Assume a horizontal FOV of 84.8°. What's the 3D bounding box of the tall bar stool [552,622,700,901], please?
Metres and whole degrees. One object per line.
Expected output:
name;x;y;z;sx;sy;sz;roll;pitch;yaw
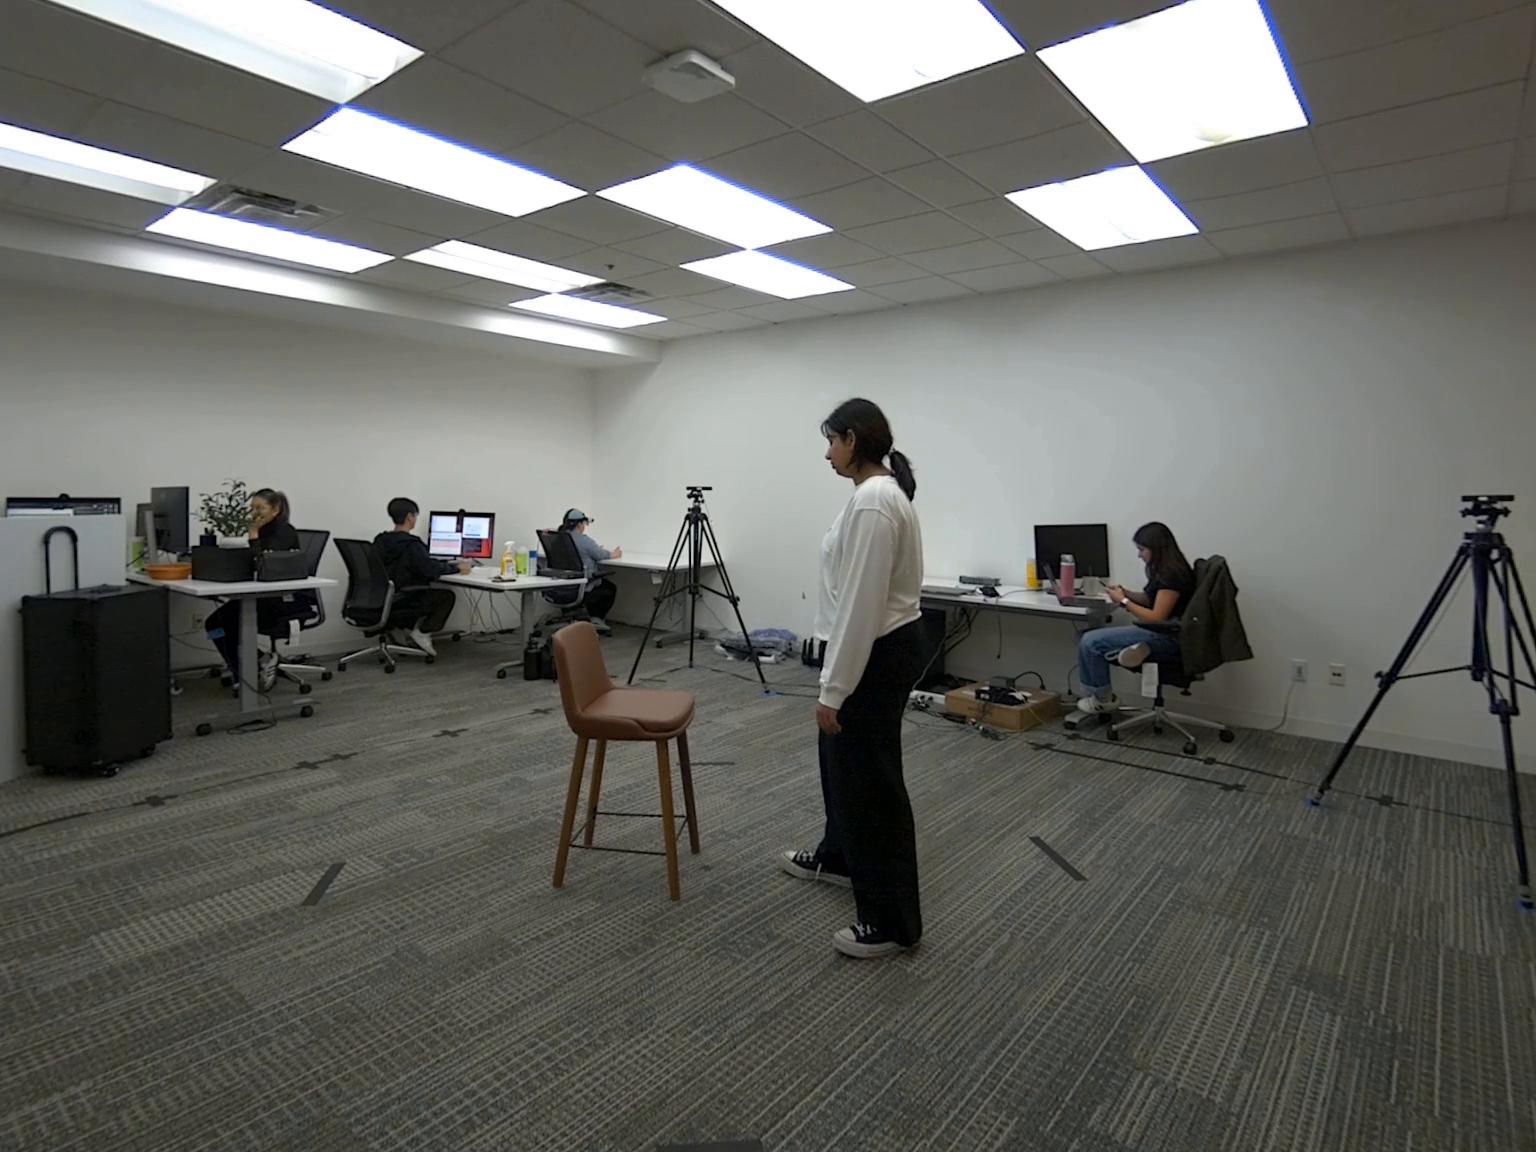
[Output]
tall bar stool;-0.501;0.629;3.069;0.472;0.888;0.453;0;3;9
